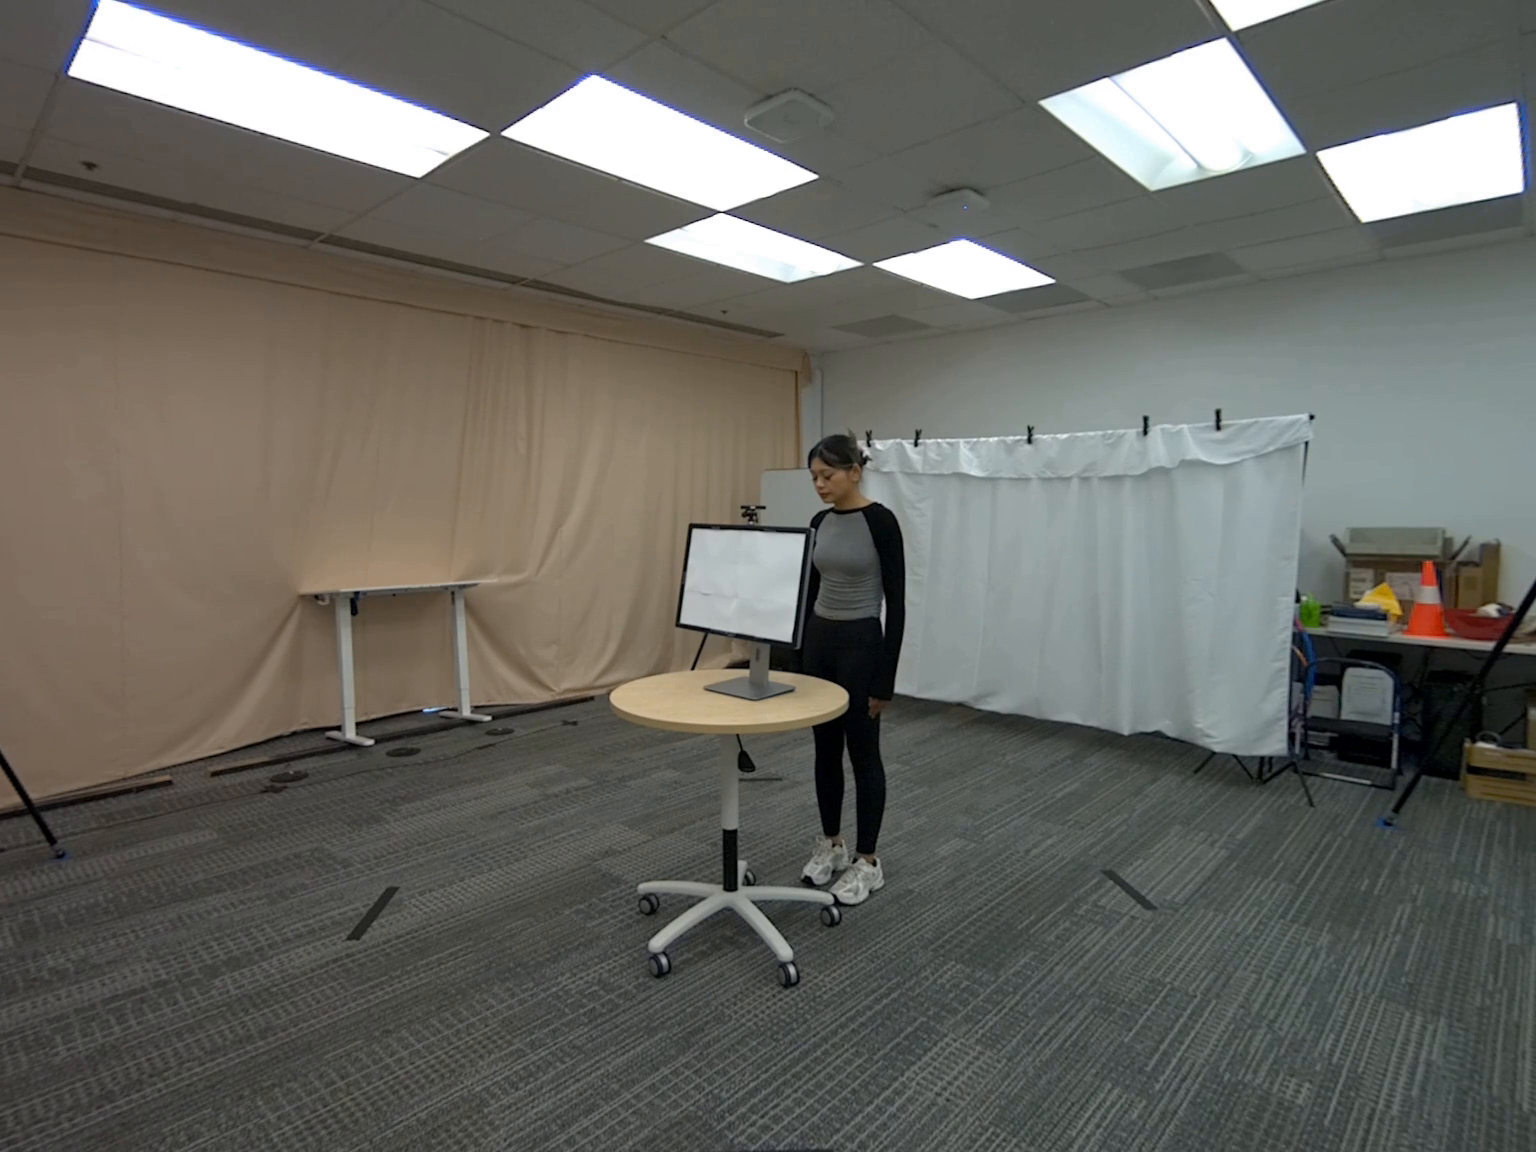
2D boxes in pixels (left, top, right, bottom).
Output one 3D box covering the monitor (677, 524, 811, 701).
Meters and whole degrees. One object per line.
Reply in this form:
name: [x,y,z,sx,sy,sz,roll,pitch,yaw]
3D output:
monitor: [-0.057,0.110,2.742,0.557,0.521,0.181,4,7,44]
